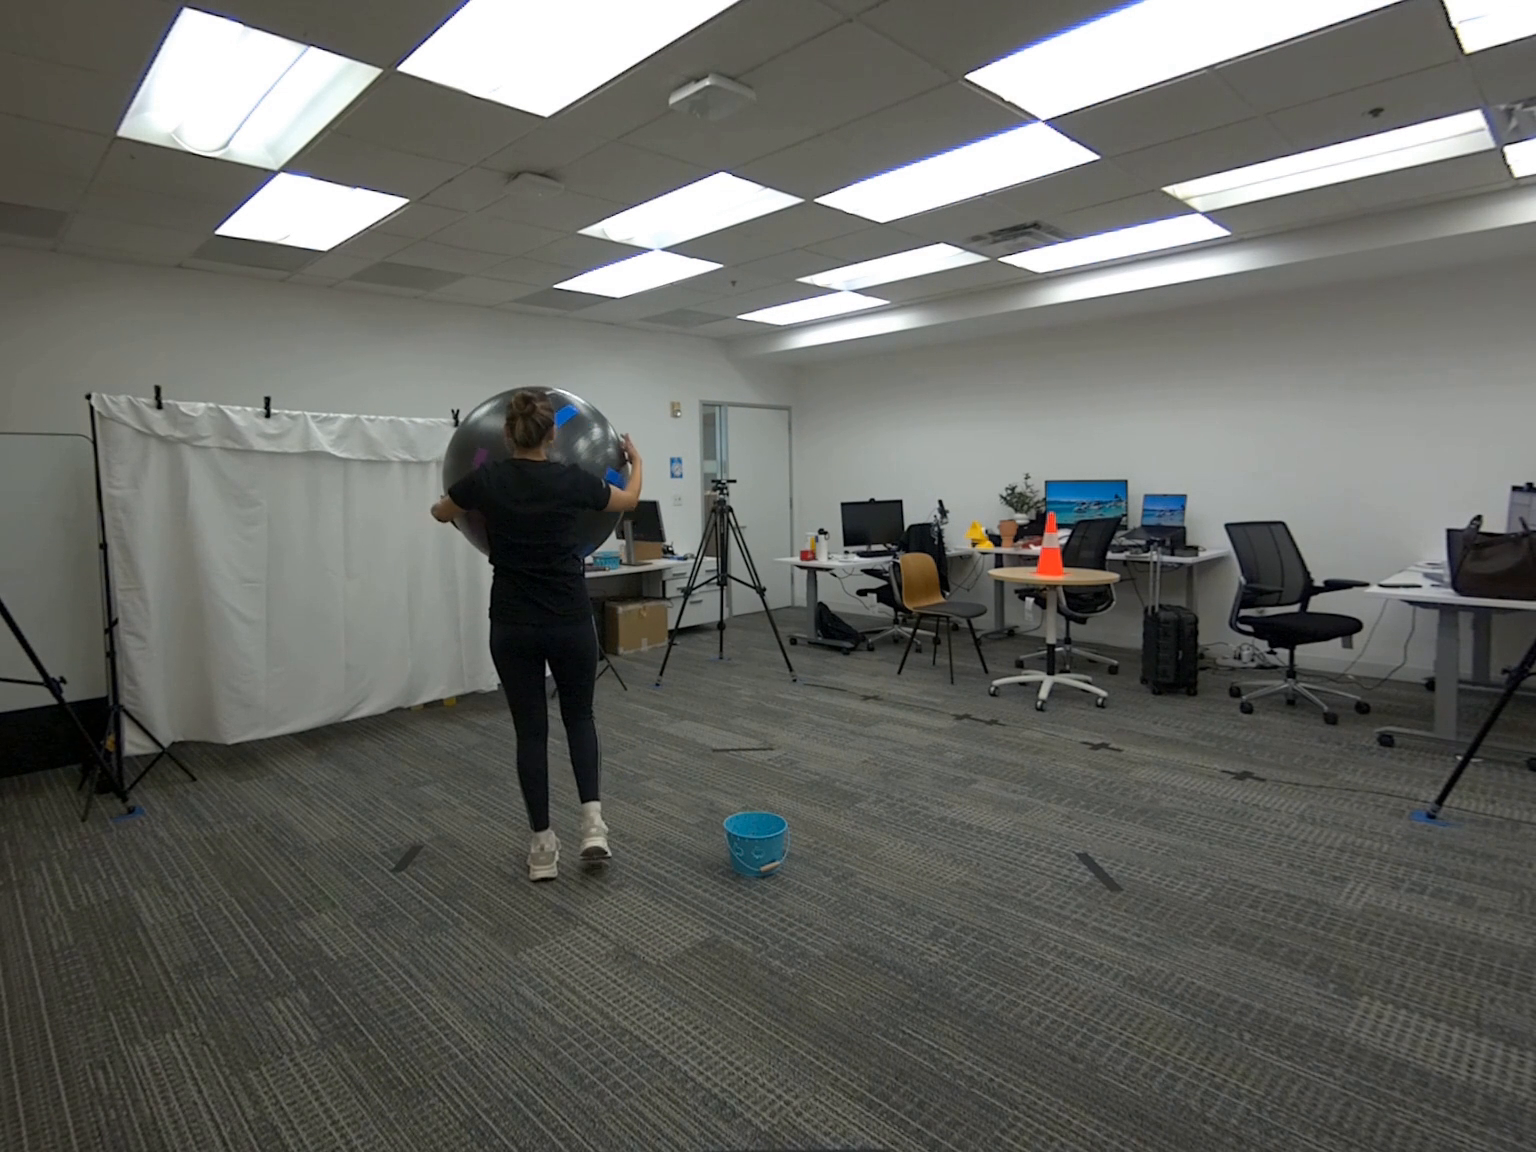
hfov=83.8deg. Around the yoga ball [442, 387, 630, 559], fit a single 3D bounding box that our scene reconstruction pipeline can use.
[{"bbox_3d":[-0.970,-0.400,3.551,0.757,0.755,0.762,-1,5,-2],"label":"yoga ball"}]
